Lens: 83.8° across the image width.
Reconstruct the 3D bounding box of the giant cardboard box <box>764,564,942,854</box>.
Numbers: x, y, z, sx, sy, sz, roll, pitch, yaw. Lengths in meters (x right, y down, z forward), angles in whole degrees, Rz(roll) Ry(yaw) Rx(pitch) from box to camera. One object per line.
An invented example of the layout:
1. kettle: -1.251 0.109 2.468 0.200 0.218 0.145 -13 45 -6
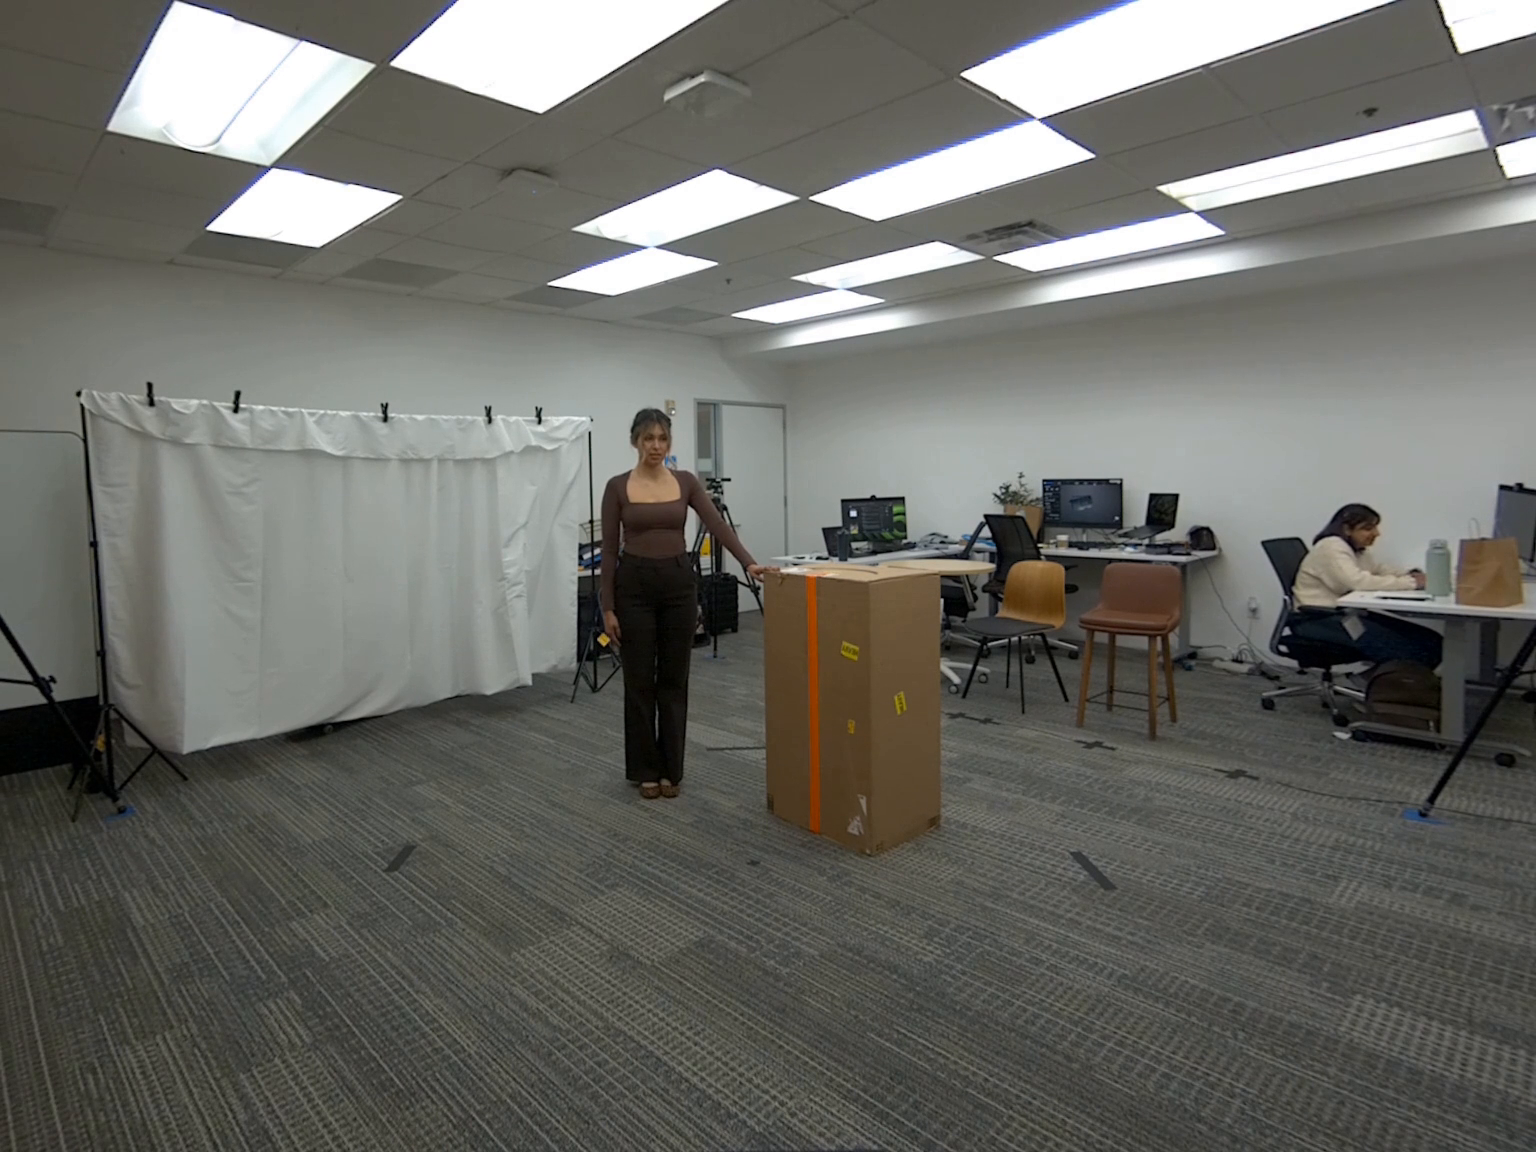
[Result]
1. giant cardboard box: 0.335 0.486 3.455 0.435 1.023 0.602 -5 6 -39
